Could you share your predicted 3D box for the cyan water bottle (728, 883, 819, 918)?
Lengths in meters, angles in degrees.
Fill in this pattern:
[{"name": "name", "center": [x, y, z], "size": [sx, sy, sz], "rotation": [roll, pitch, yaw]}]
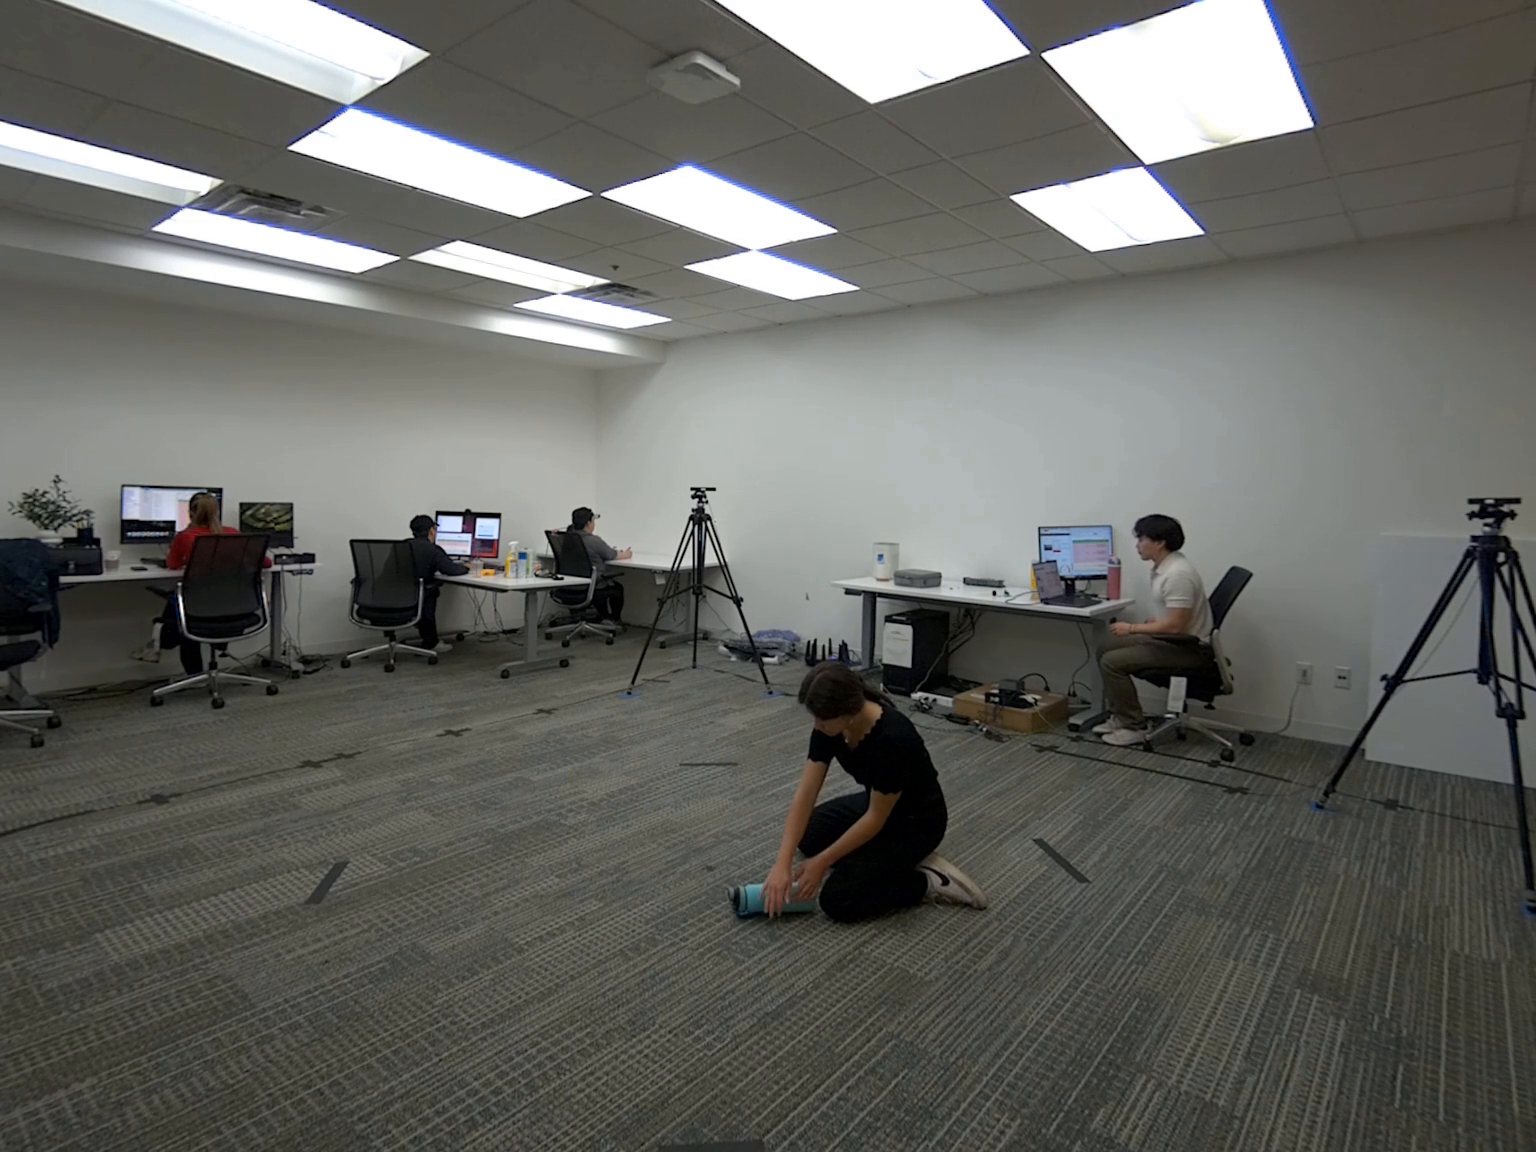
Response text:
[{"name": "cyan water bottle", "center": [0.002, 1.055, 2.794], "size": [0.280, 0.092, 0.094], "rotation": [1, 4, -12]}]
